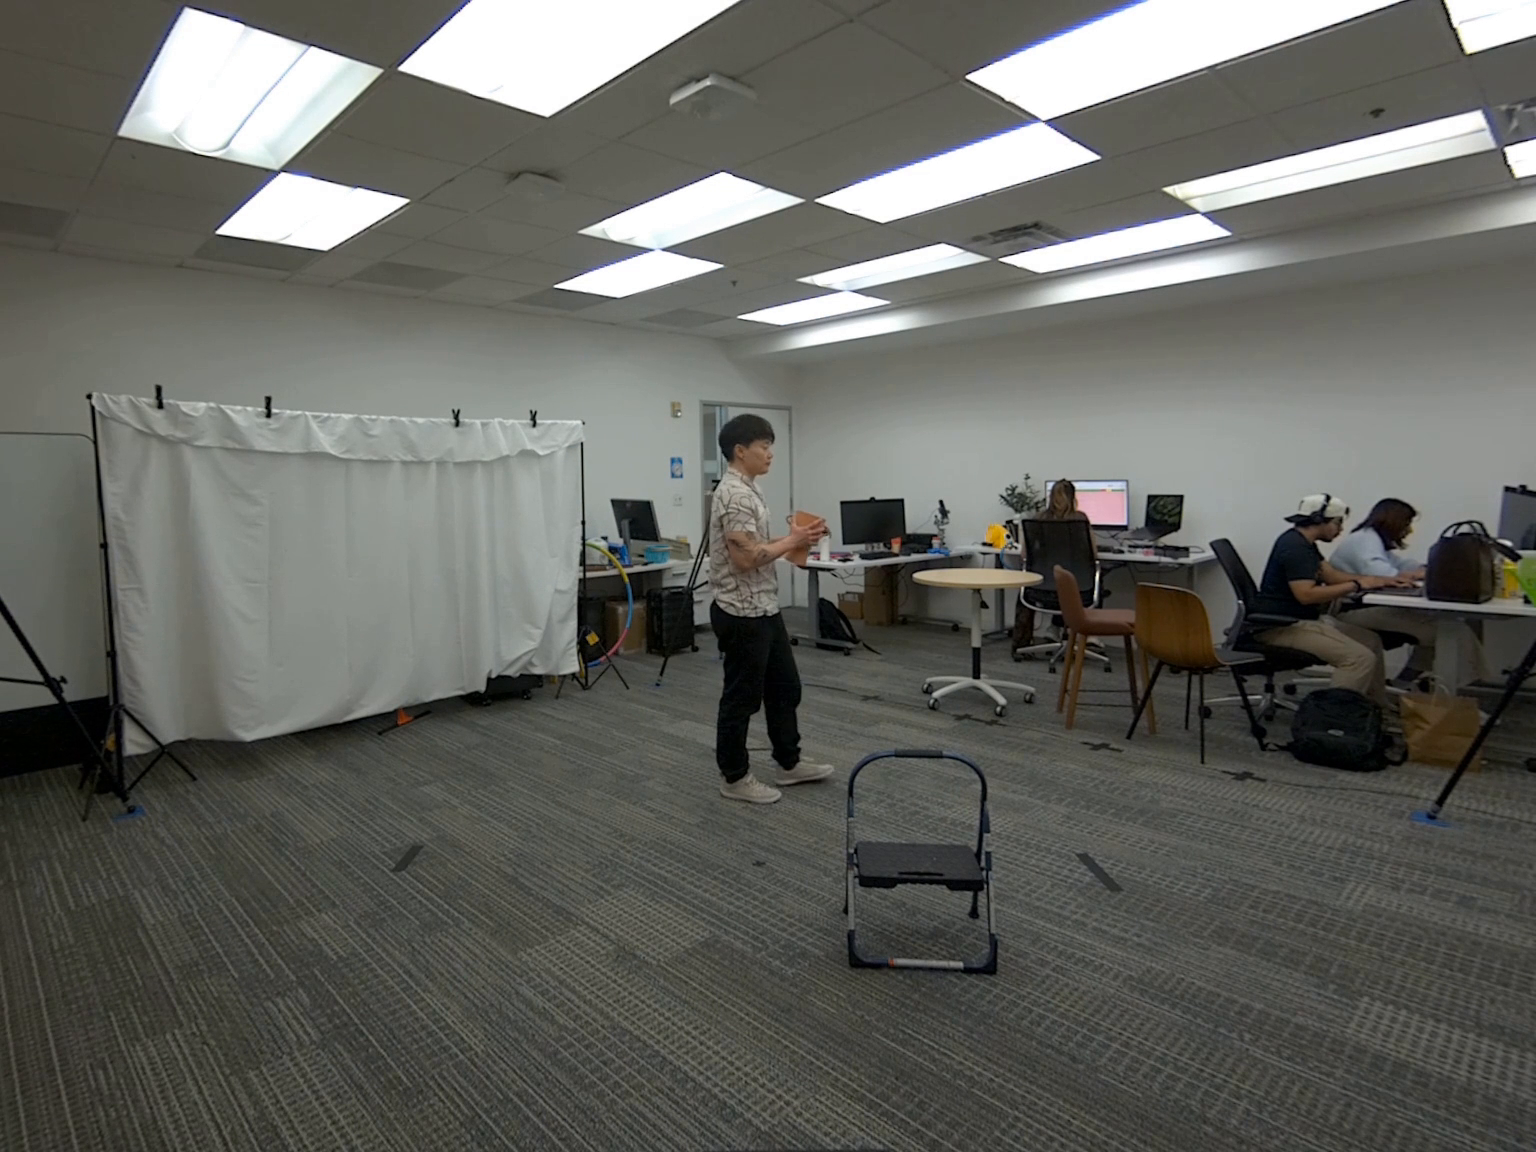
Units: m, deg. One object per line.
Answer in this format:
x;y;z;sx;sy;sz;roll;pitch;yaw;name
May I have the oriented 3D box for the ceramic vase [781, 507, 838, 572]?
0.162;-0.158;3.634;0.164;0.219;0.130;21;4;31;ceramic vase
